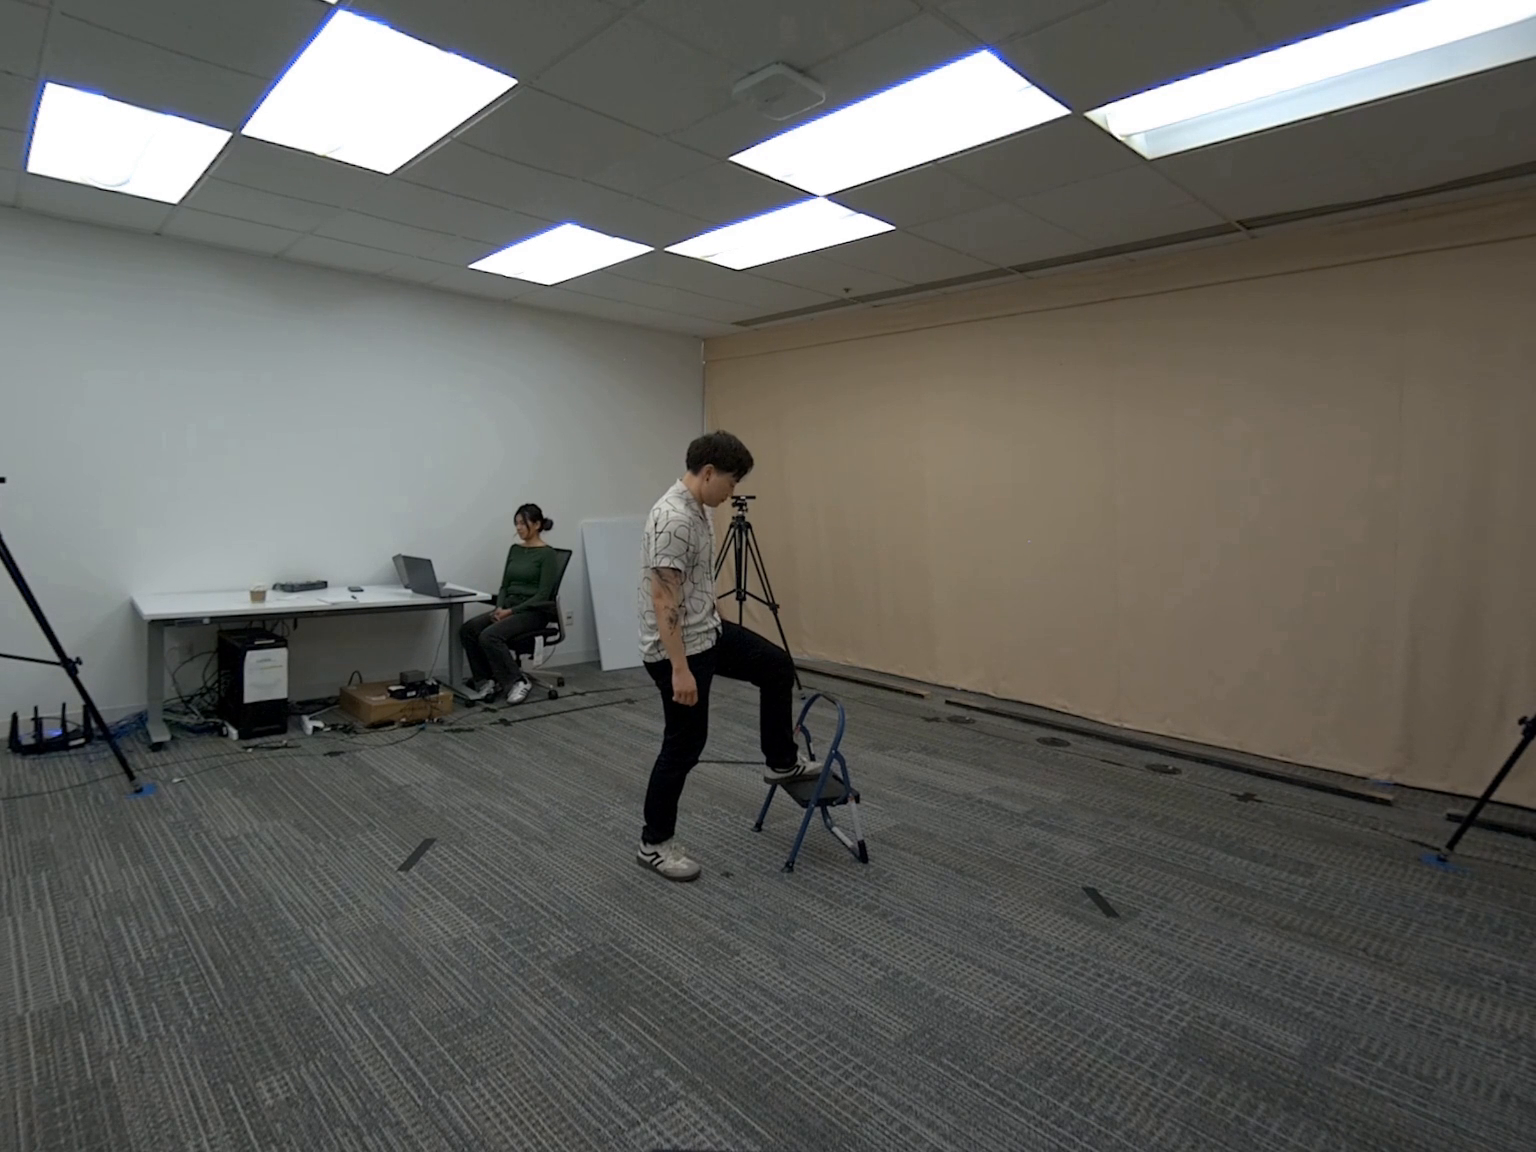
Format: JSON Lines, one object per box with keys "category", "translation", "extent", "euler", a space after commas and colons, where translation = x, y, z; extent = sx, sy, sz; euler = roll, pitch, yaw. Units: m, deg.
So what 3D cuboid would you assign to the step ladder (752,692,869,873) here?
{"category": "step ladder", "translation": [0.161, 0.781, 3.363], "extent": [0.345, 0.605, 0.437], "euler": [1, 3, -17]}
